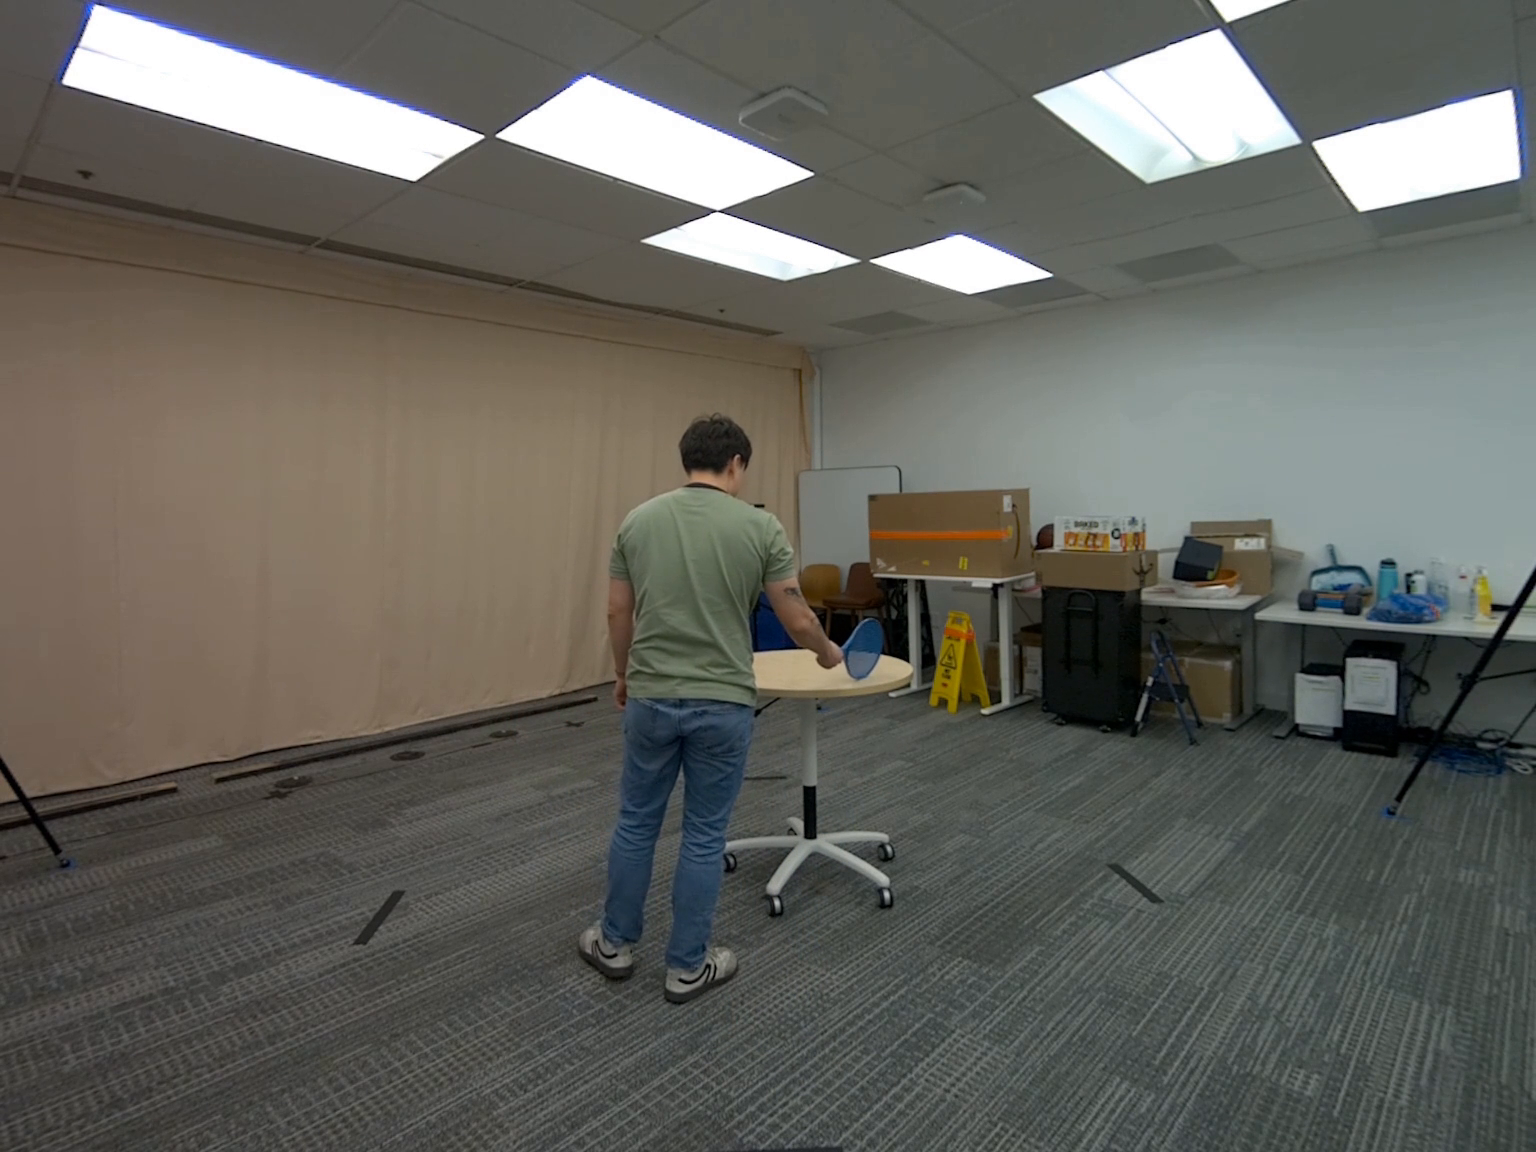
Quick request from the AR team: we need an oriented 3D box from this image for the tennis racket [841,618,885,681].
[{"bbox_3d":[0.287,0.253,2.812,0.033,0.213,0.420,13,6,31],"label":"tennis racket"}]
